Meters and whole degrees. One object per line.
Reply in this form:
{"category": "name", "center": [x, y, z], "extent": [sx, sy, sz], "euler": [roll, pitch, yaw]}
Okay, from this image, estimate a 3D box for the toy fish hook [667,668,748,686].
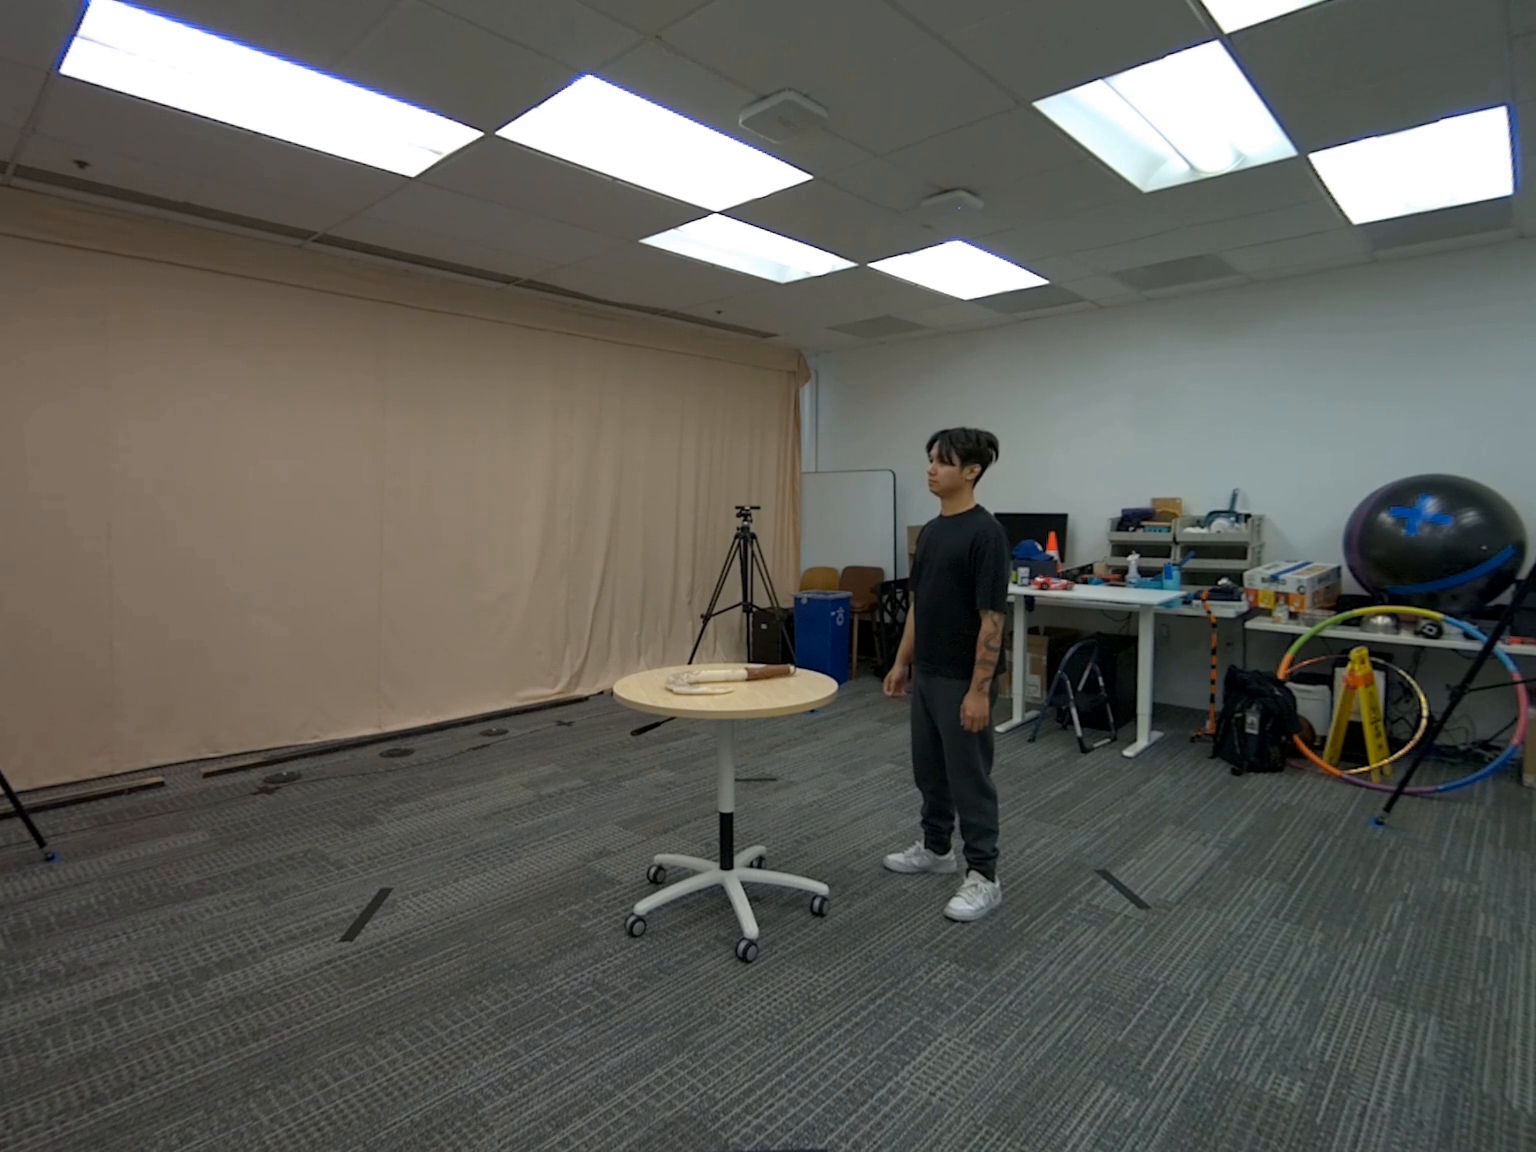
{"category": "toy fish hook", "center": [-0.092, 0.362, 2.868], "extent": [0.495, 0.048, 0.231], "euler": [-4, 9, -24]}
